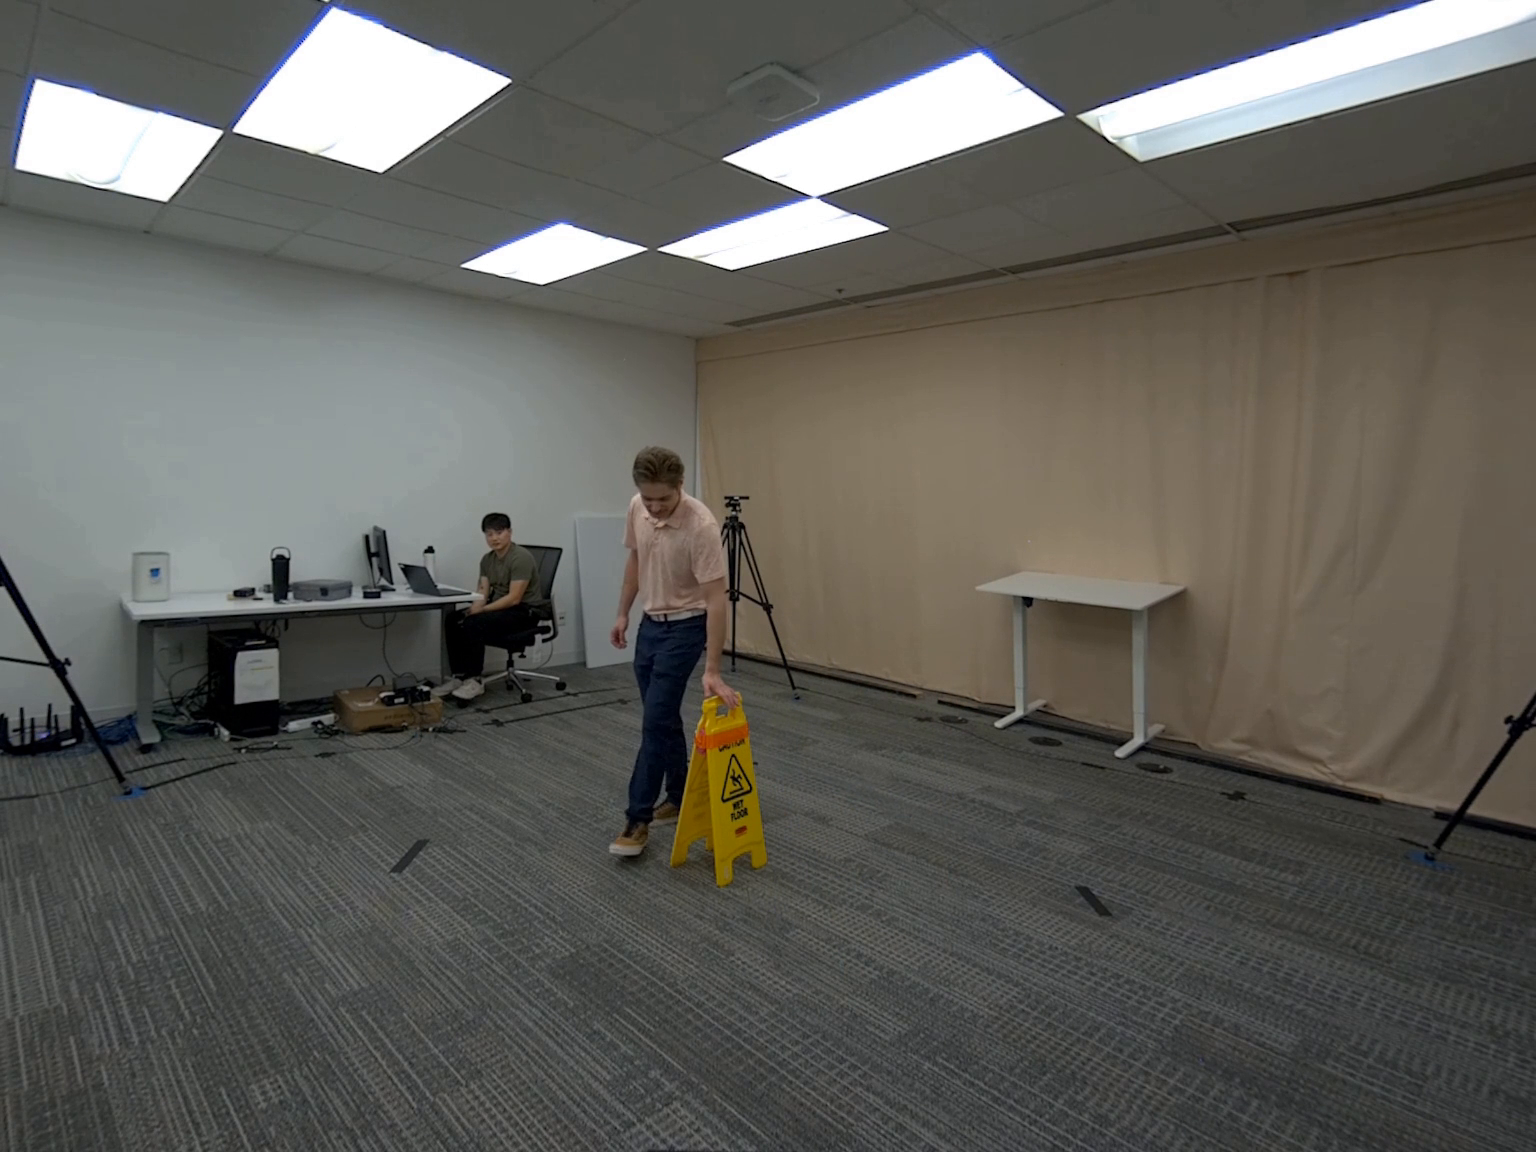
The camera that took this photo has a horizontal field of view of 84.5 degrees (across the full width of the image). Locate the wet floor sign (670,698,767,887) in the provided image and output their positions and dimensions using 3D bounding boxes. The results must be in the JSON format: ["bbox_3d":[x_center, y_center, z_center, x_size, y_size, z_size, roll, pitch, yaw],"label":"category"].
[{"bbox_3d":[-0.182,0.772,3.166,0.297,0.644,0.276,5,5,39],"label":"wet floor sign"}]
